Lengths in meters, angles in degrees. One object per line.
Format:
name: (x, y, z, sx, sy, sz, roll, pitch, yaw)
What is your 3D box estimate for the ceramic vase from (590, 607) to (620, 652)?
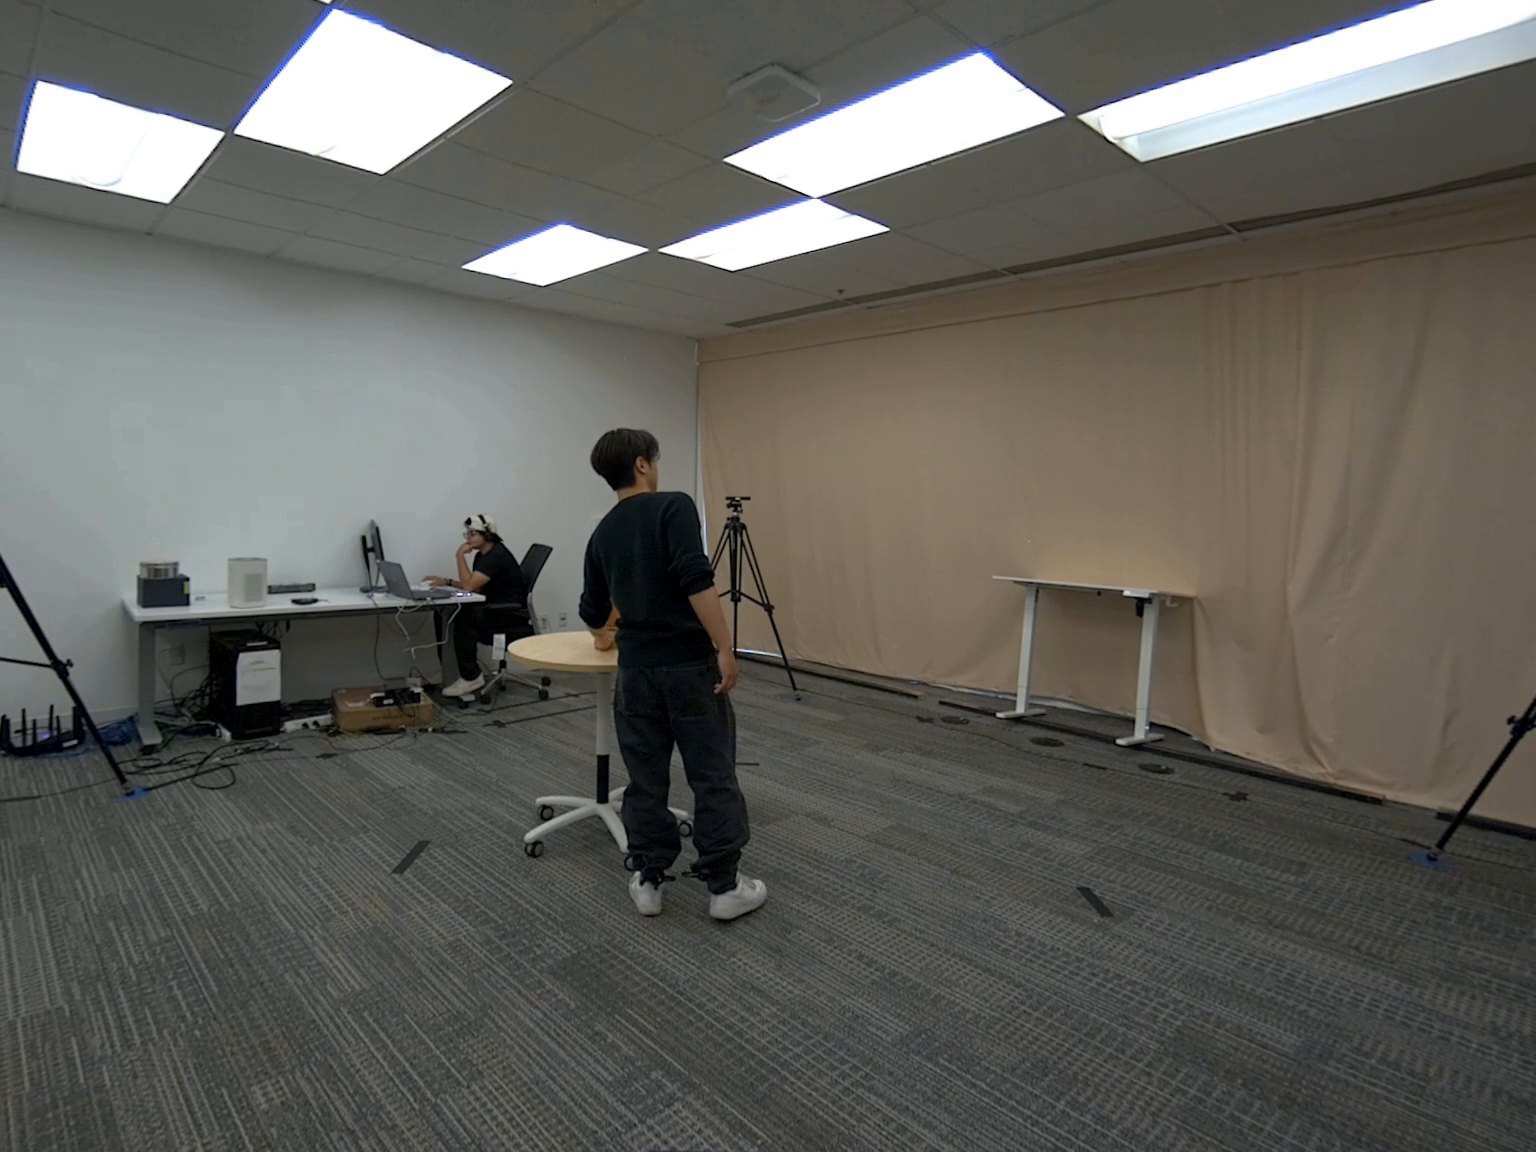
ceramic vase: (-0.643, 0.178, 3.384, 0.138, 0.219, 0.155, 4, 6, 42)
